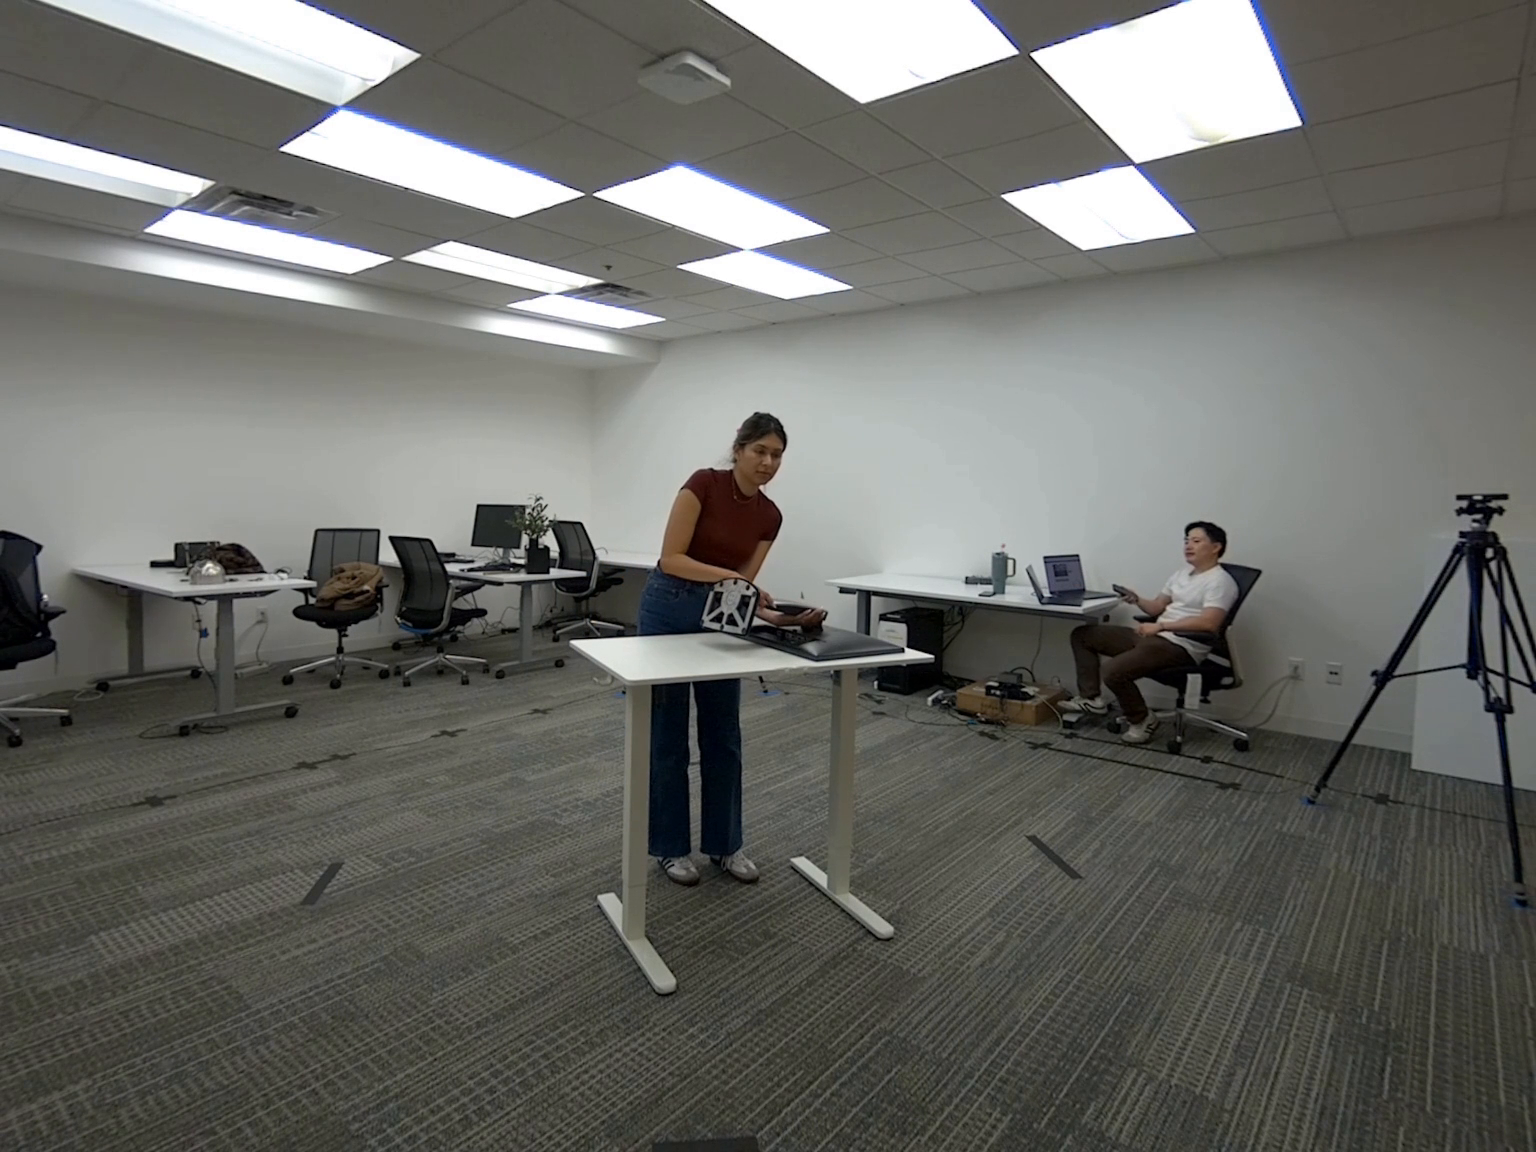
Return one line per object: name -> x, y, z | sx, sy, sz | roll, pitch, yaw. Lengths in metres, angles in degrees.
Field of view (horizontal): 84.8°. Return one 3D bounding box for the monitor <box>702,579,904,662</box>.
monitor -> 0.079, 0.159, 2.781 | 0.505, 0.187, 0.556 | 17, -4, -31
